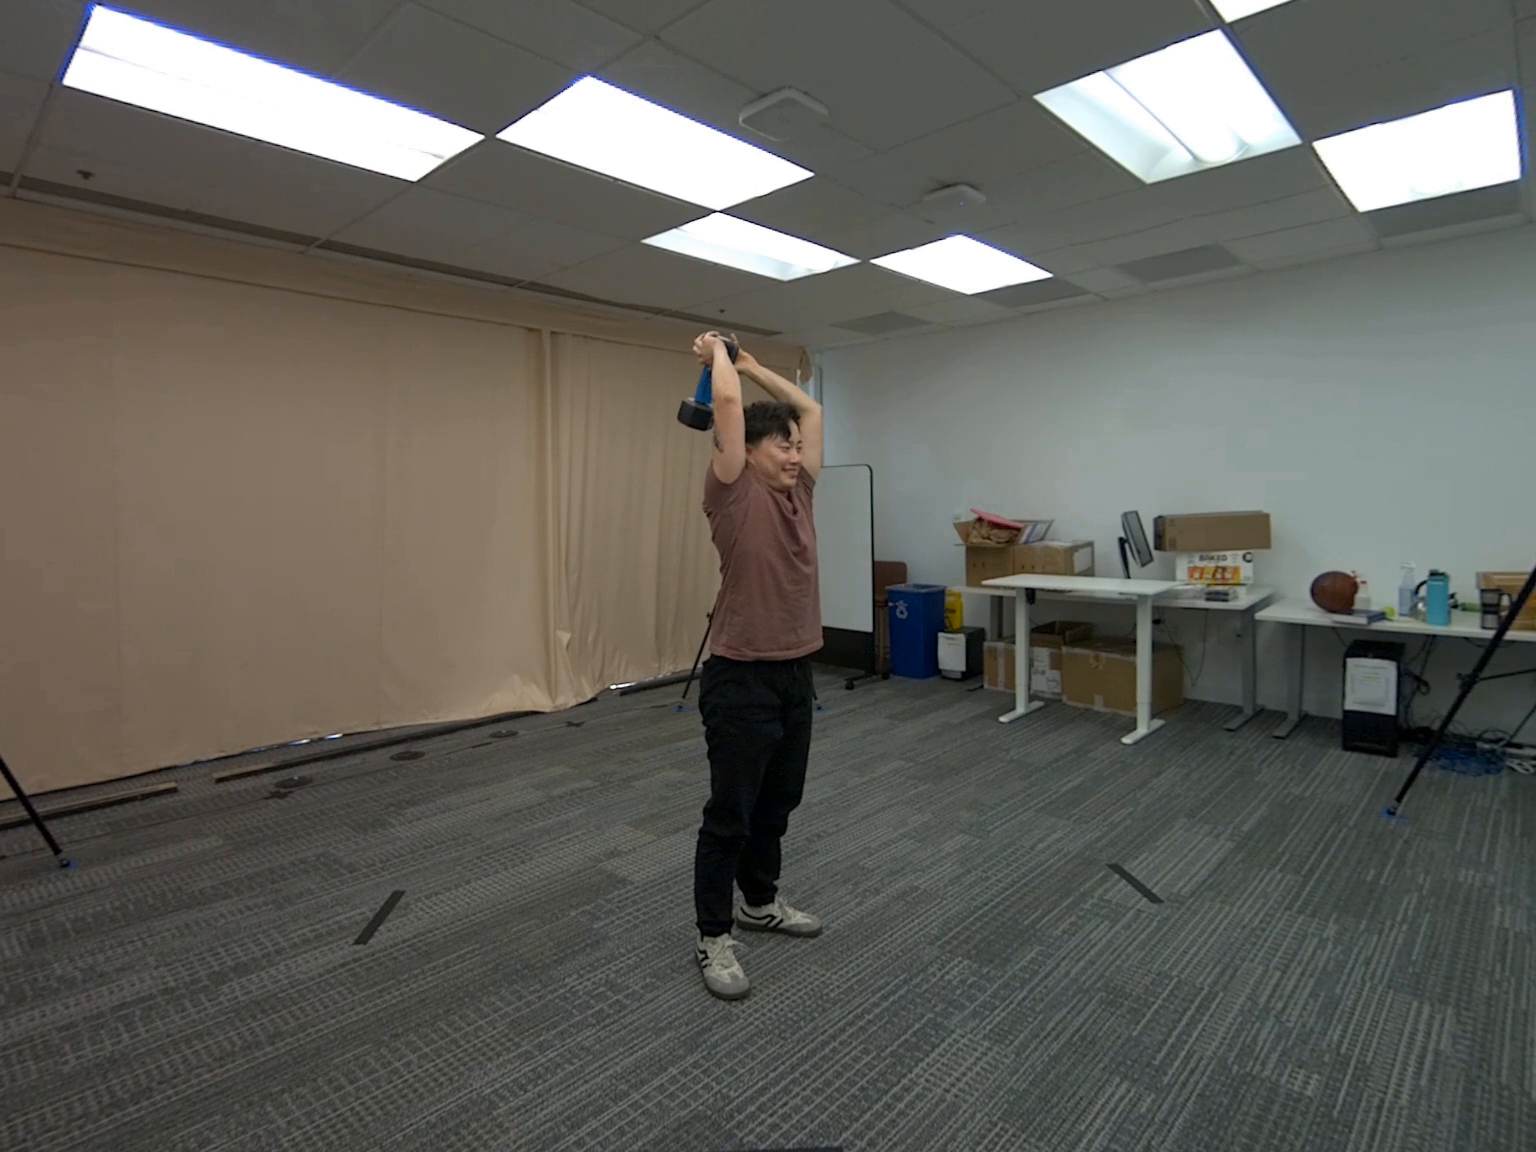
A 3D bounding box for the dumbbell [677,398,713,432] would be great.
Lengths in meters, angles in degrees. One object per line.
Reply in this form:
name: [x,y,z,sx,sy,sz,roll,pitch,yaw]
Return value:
dumbbell: [-0.184,-0.604,2.659,0.105,0.292,0.127,1,27,-44]
